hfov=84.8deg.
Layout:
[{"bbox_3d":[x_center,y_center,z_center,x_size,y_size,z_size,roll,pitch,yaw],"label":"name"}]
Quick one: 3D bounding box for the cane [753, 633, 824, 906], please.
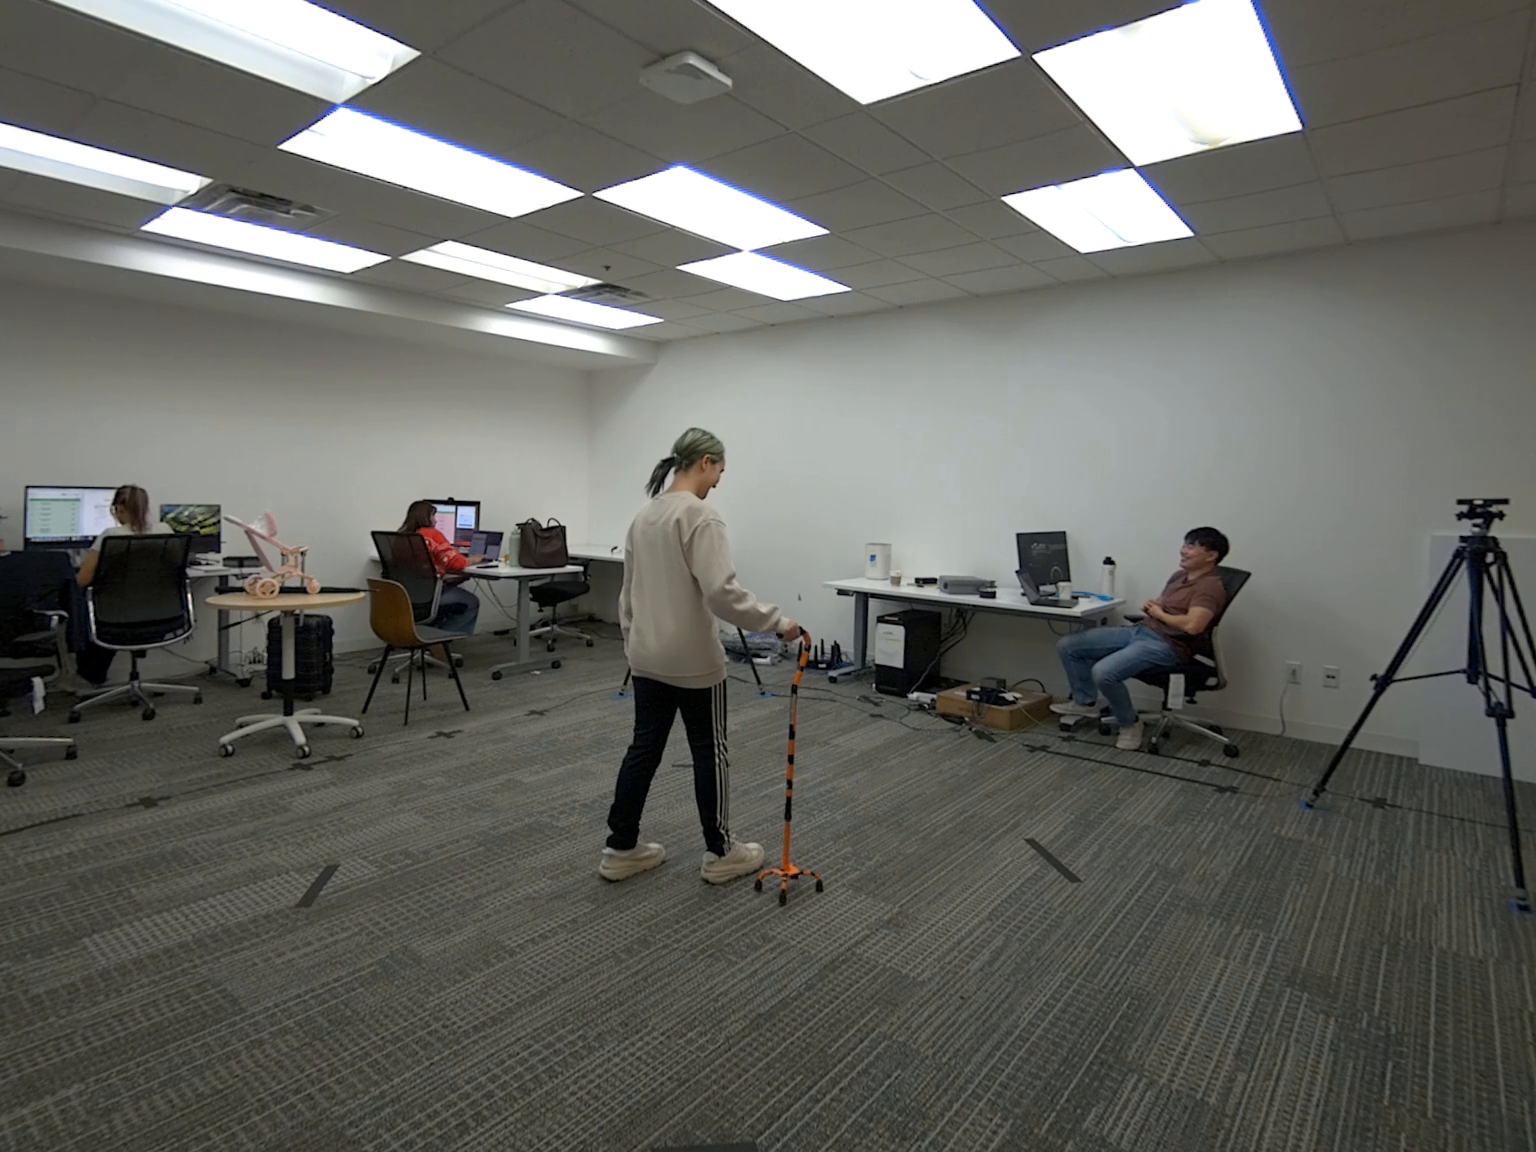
[{"bbox_3d":[0.098,0.629,2.952,0.200,0.908,0.157,4,0,-42],"label":"cane"}]
